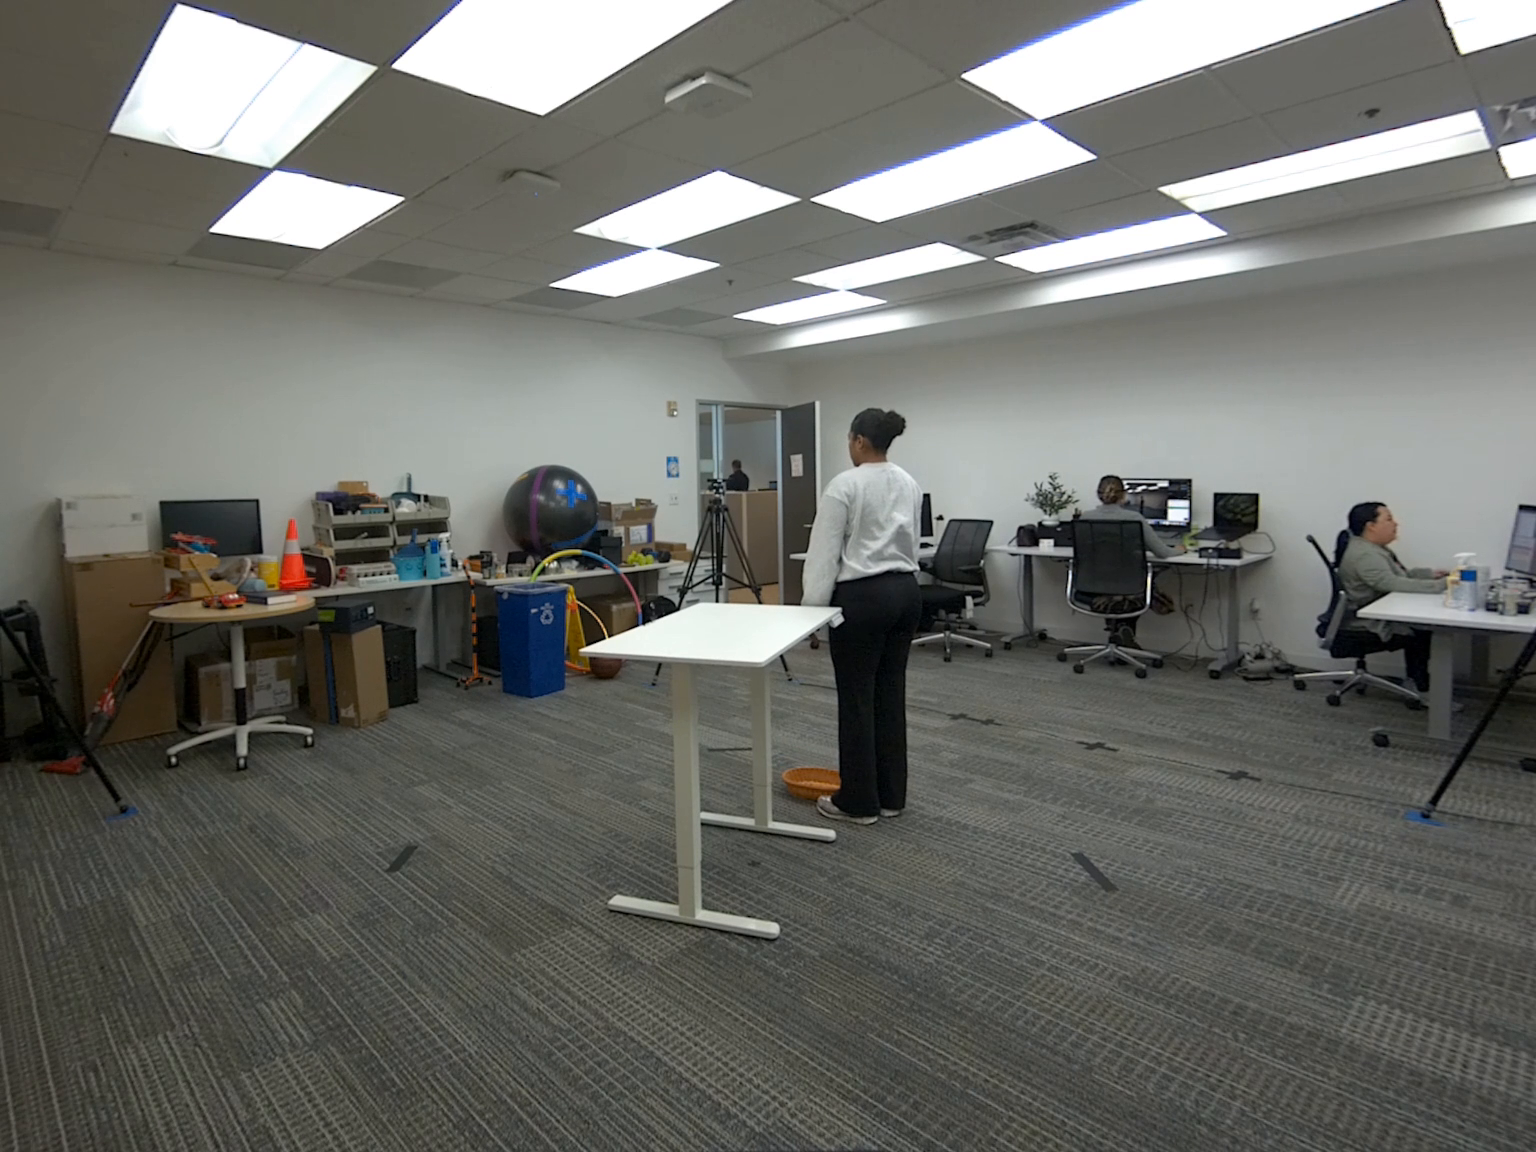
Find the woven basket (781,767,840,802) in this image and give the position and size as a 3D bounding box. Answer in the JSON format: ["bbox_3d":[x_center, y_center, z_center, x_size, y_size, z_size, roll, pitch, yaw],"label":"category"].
[{"bbox_3d":[0.234,0.922,3.787,0.359,0.073,0.247,2,6,29],"label":"woven basket"}]
